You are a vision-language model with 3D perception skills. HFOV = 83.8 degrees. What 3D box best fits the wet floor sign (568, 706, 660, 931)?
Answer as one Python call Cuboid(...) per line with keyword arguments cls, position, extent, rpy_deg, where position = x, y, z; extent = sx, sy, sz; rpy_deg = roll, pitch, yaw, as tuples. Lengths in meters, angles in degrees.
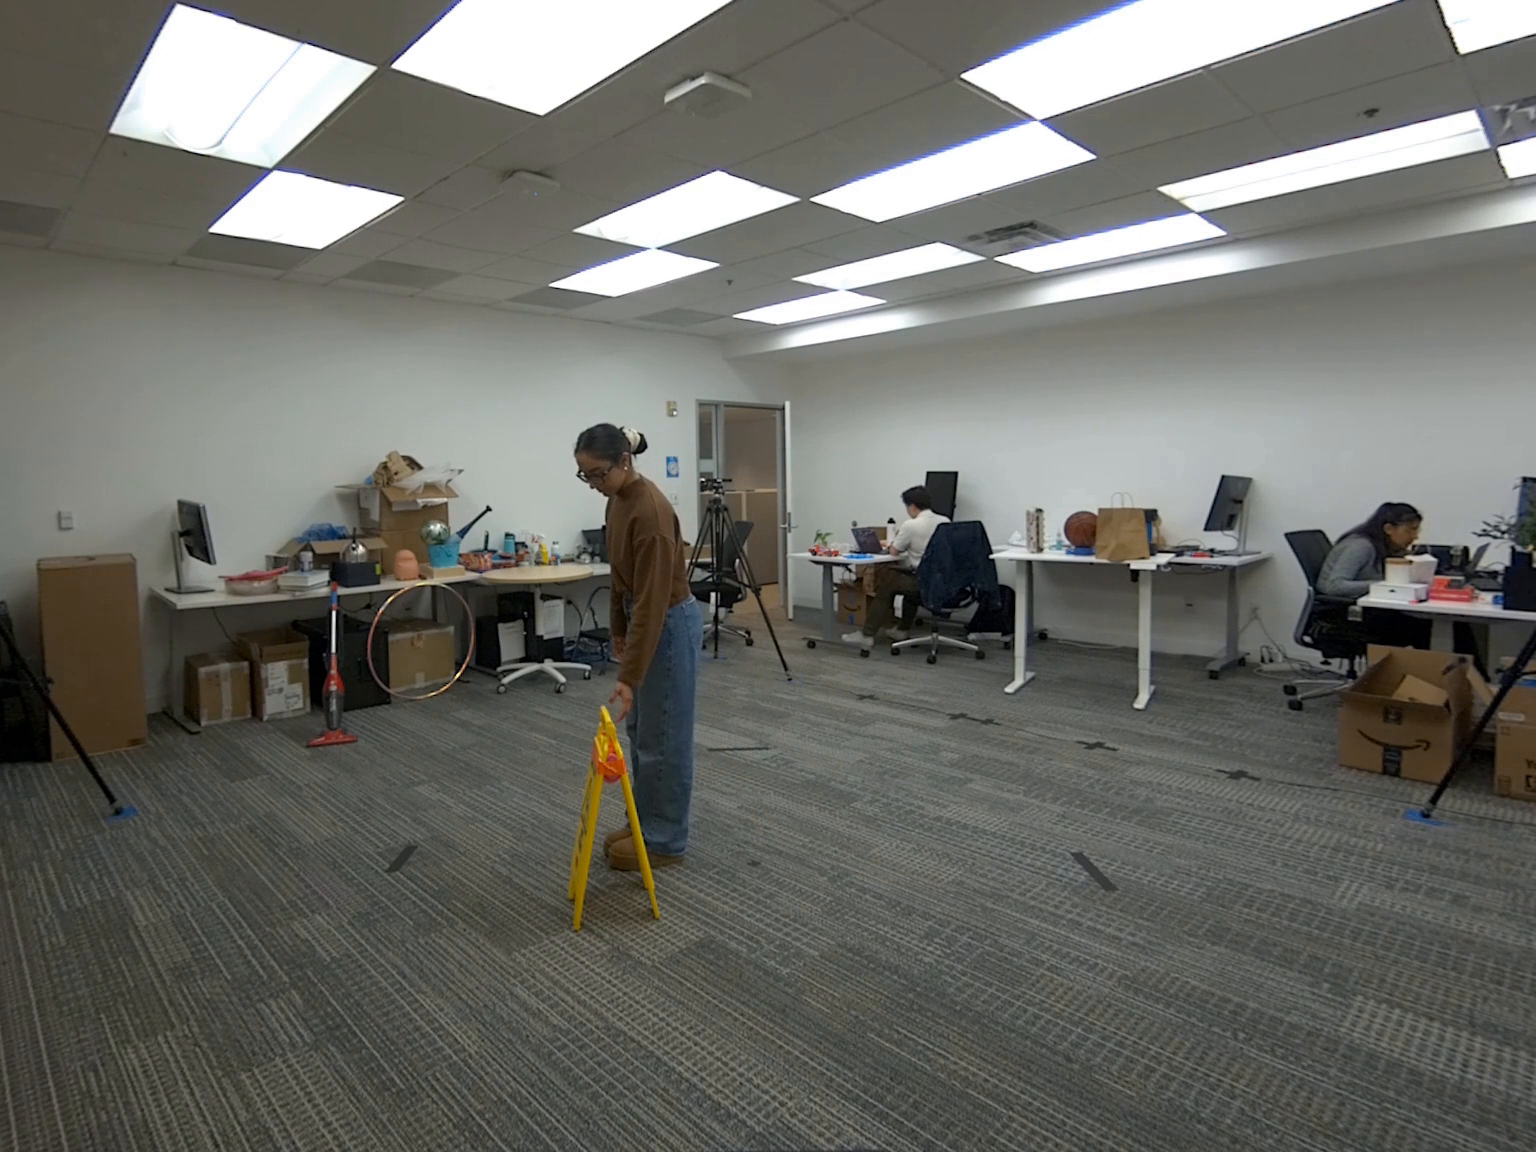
Cuboid(cls="wet floor sign", position=(-0.518, 0.767, 2.794), extent=(0.286, 0.643, 0.287), rpy_deg=(-3, 5, -14))
